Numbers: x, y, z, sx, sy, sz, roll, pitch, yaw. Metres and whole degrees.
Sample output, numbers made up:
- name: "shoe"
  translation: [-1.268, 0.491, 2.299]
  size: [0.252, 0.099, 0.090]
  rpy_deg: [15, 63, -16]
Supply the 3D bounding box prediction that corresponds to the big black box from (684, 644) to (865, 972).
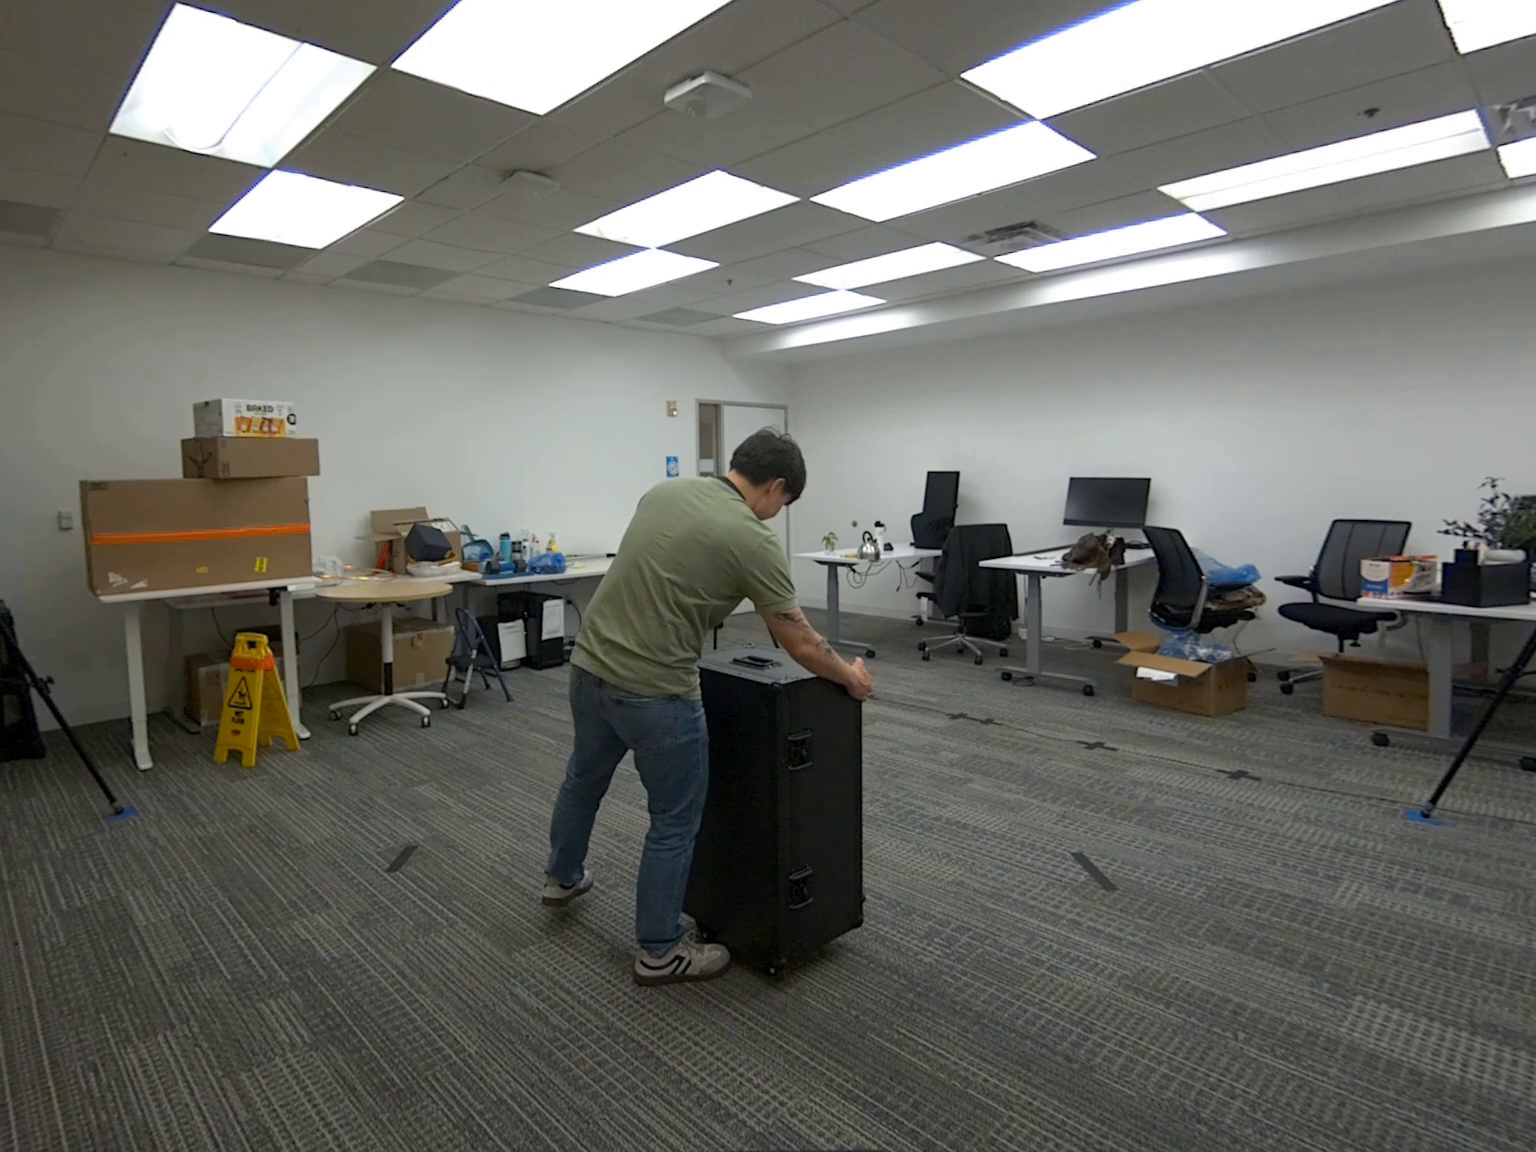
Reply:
- name: "big black box"
  translation: [-0.004, 0.677, 2.591]
  size: [0.385, 0.859, 0.537]
  rpy_deg: [-3, 5, -42]
